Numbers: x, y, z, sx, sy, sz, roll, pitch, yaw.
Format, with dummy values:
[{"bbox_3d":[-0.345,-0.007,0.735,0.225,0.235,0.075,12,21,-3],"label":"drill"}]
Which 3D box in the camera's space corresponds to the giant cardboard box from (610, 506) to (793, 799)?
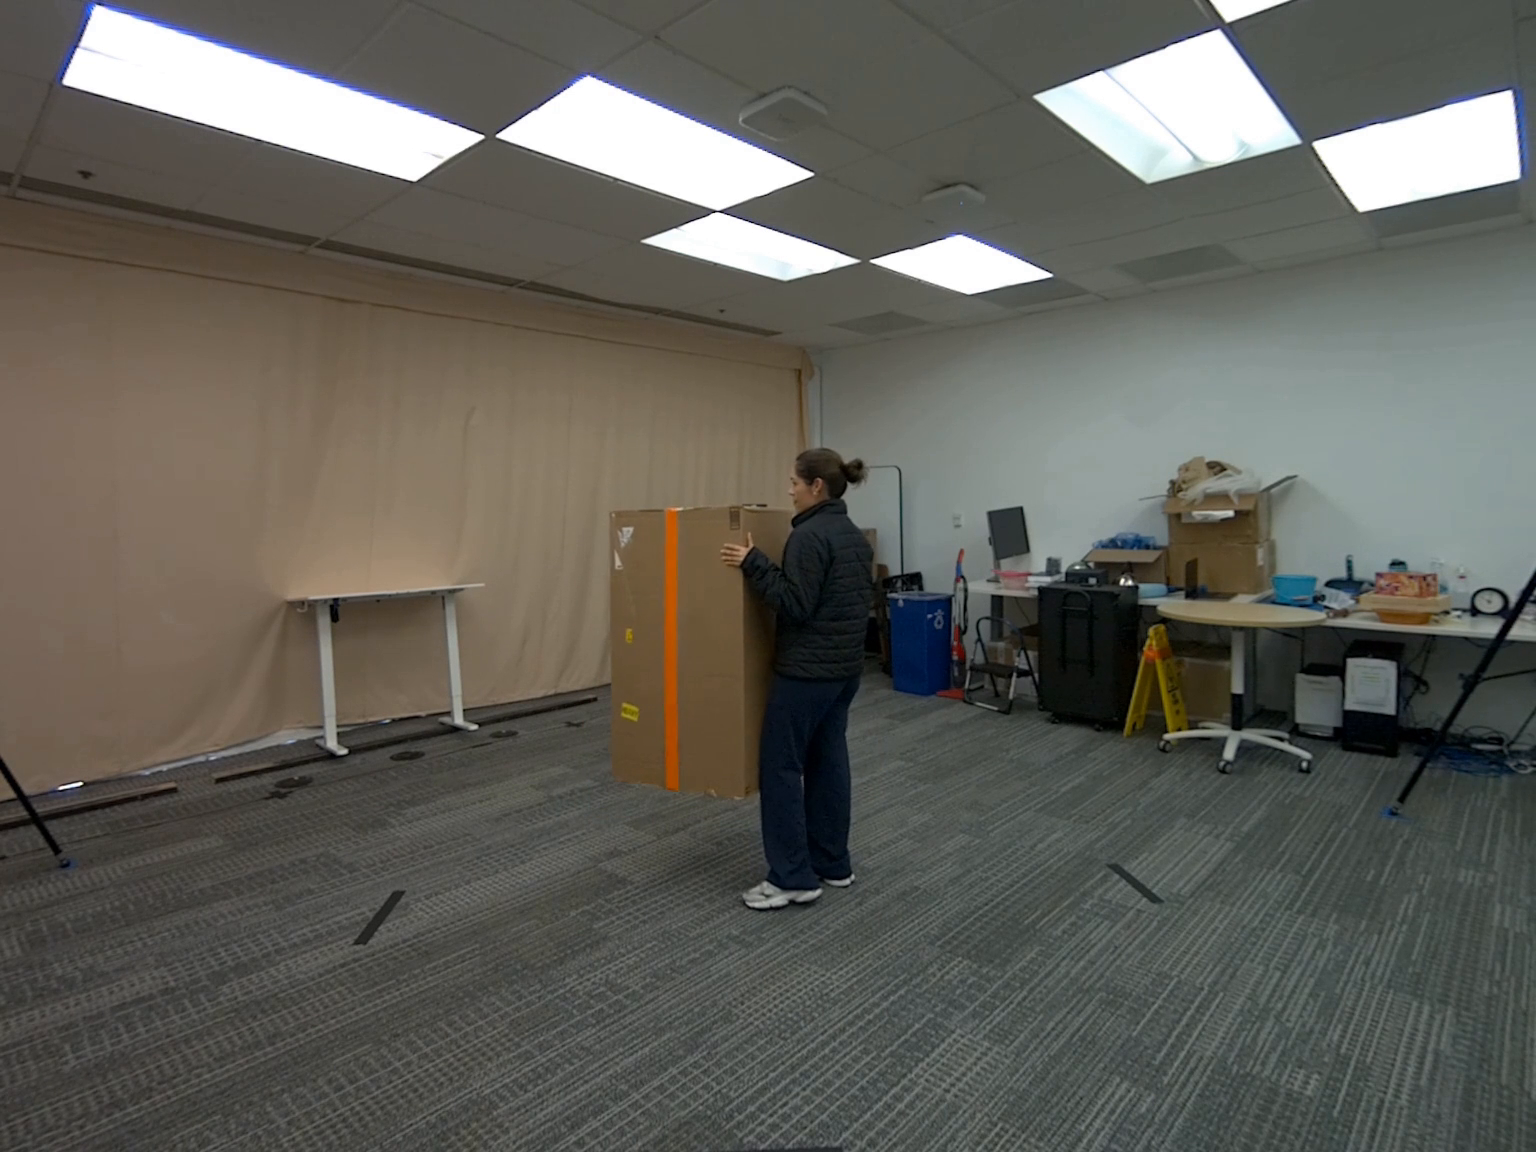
[{"bbox_3d":[-0.232,0.264,3.226,0.594,1.026,0.414,0,0,30],"label":"giant cardboard box"}]
